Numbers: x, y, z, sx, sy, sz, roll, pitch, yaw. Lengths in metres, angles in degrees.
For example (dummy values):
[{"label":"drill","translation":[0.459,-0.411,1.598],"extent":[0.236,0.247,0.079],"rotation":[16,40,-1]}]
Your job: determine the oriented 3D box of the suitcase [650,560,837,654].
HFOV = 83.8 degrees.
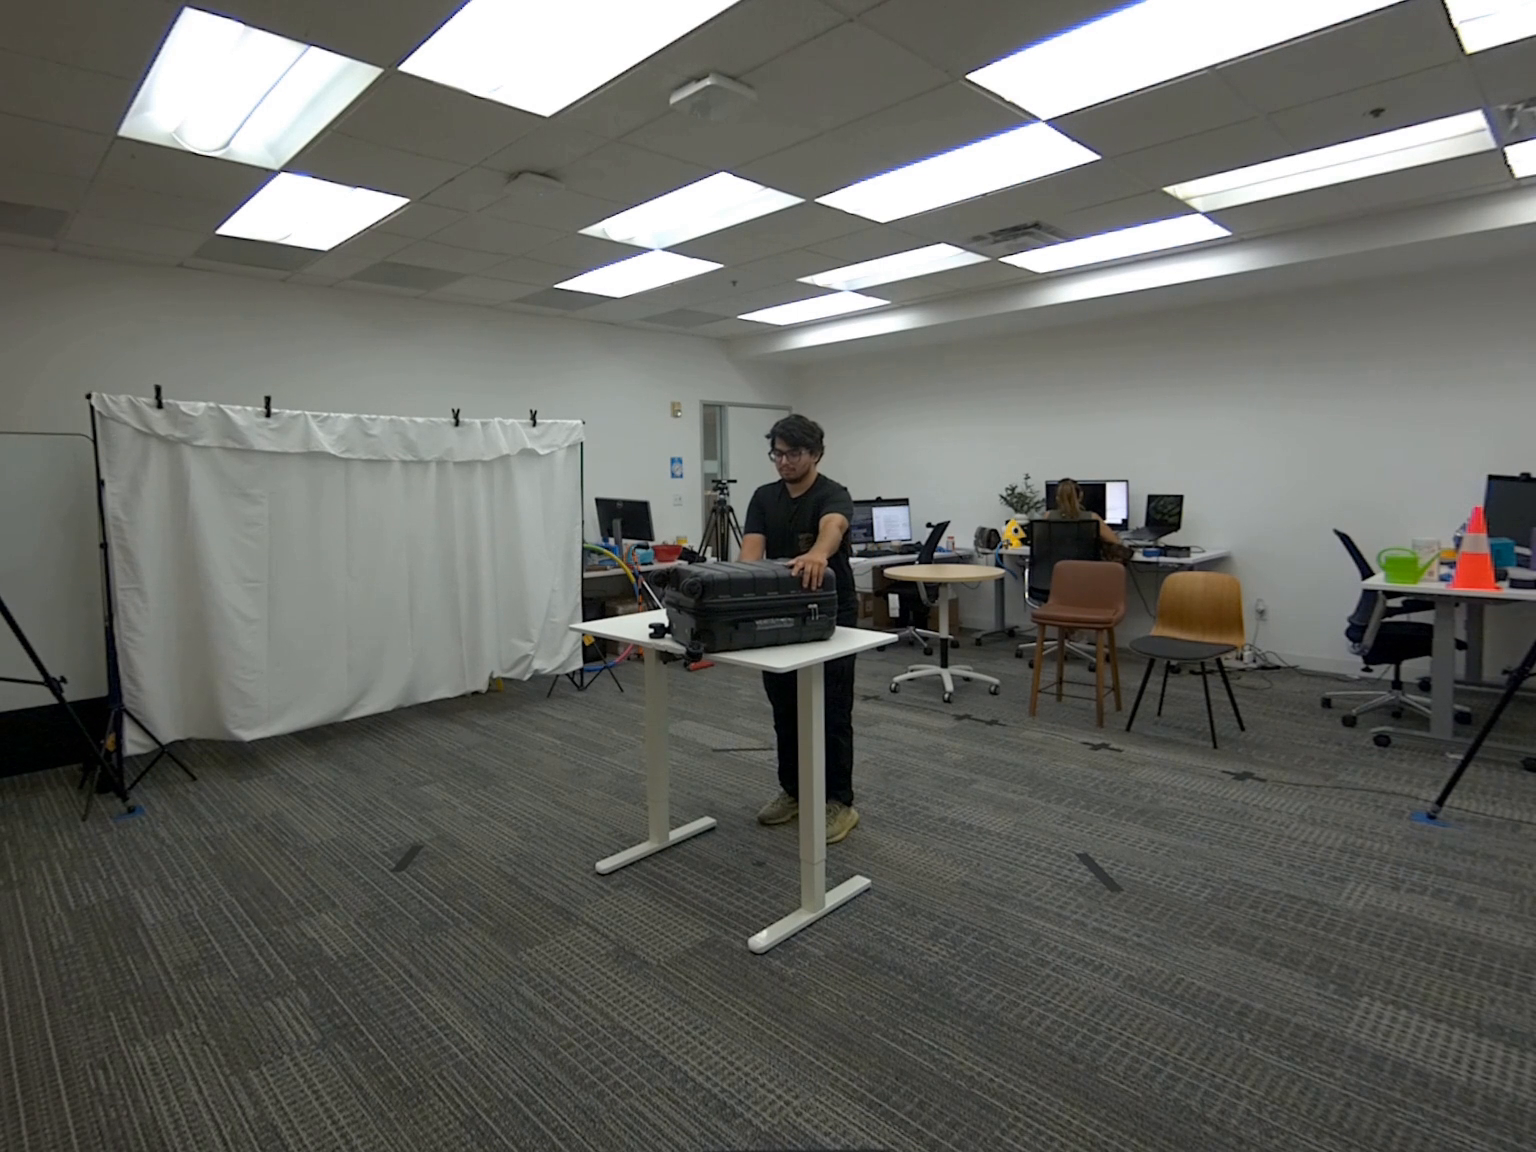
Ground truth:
[{"label":"suitcase","translation":[-0.078,0.090,2.765],"extent":[0.538,0.247,0.385],"rotation":[-5,7,-26]}]
